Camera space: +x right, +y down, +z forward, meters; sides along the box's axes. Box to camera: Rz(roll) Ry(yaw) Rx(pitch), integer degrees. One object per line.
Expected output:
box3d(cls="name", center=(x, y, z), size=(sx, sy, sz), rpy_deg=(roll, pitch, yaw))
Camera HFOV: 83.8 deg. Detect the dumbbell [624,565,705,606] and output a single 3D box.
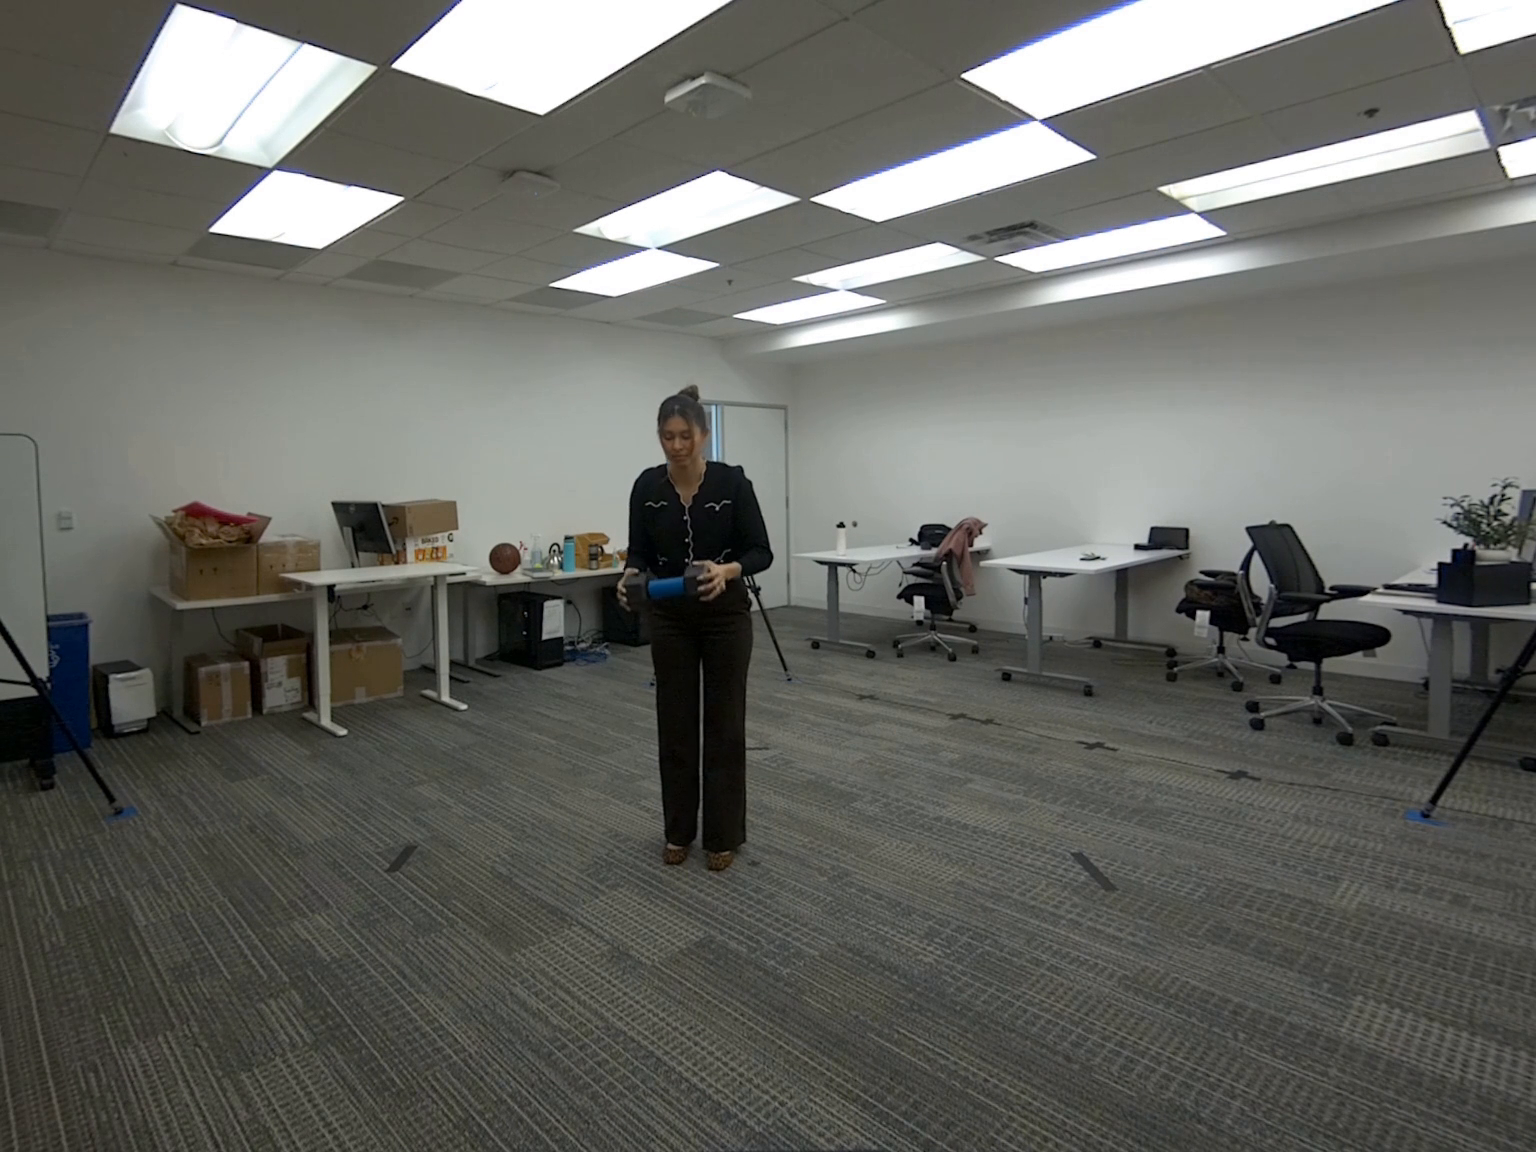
box3d(cls="dumbbell", center=(-0.340, 0.034, 2.834), size=(0.296, 0.111, 0.119), rpy_deg=(-8, -24, 10))
